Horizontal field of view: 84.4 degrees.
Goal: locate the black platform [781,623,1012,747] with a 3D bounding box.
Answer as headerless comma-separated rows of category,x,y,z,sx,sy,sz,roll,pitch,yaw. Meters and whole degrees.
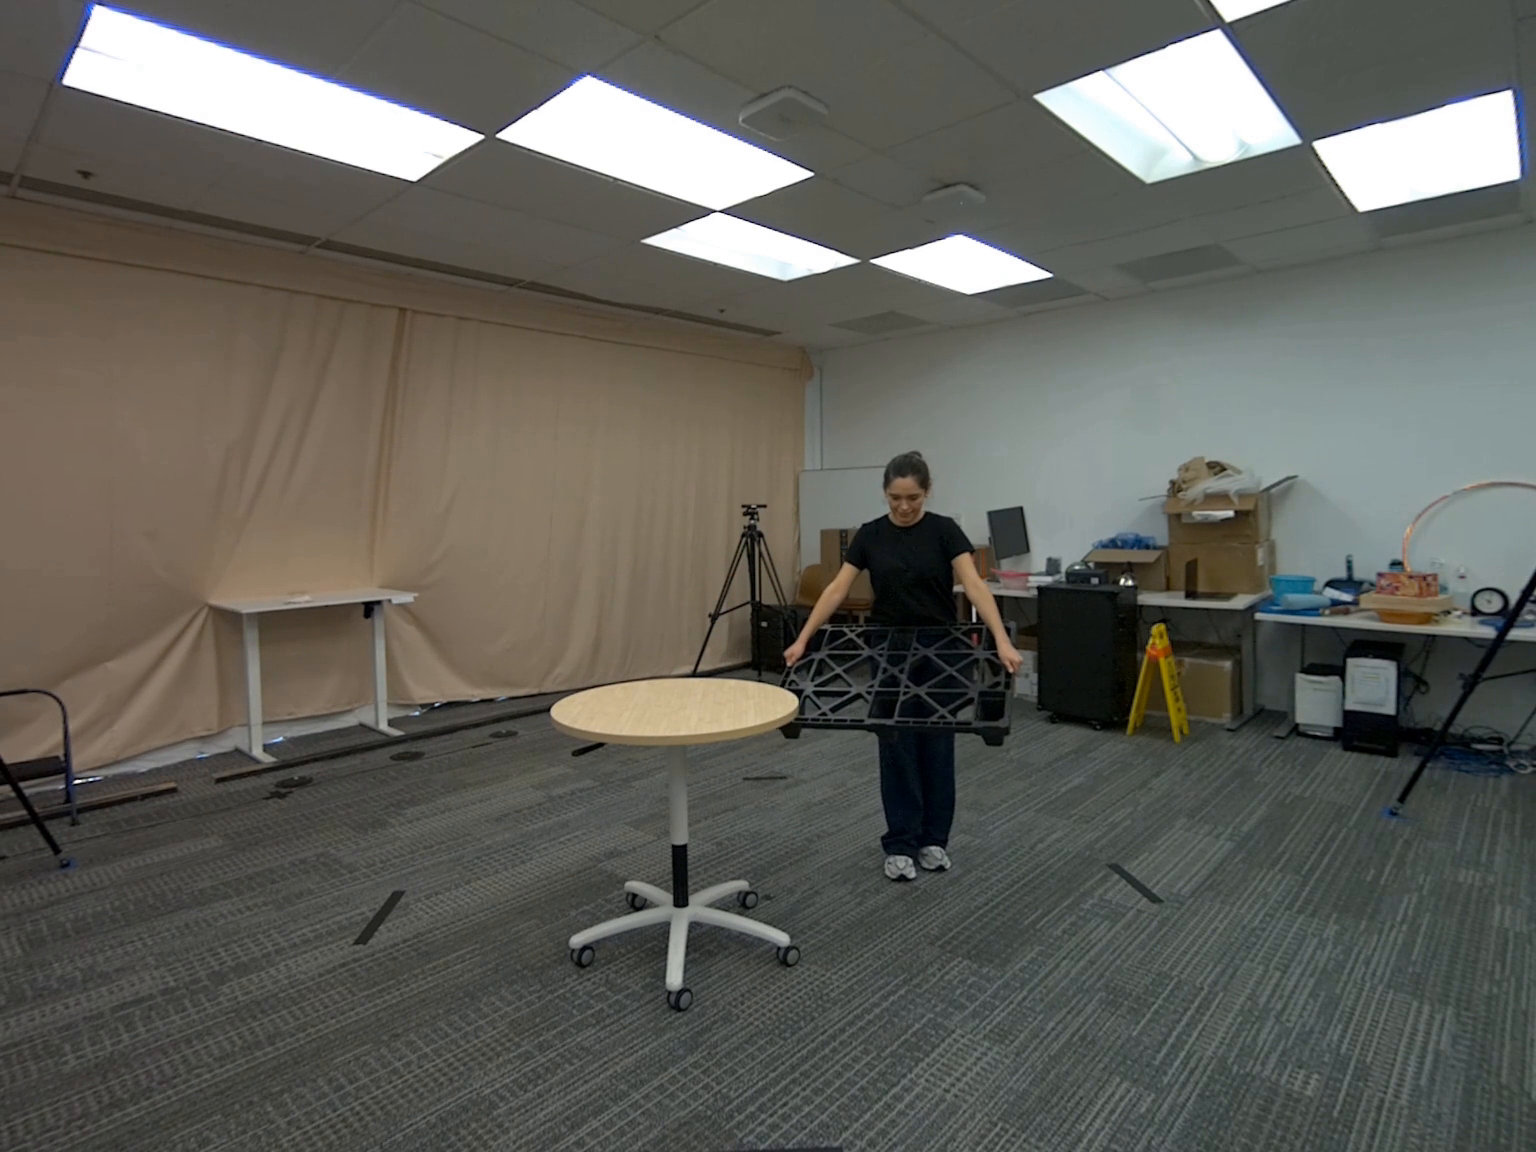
black platform,0.465,0.388,2.986,0.823,0.140,0.604,-3,28,22
